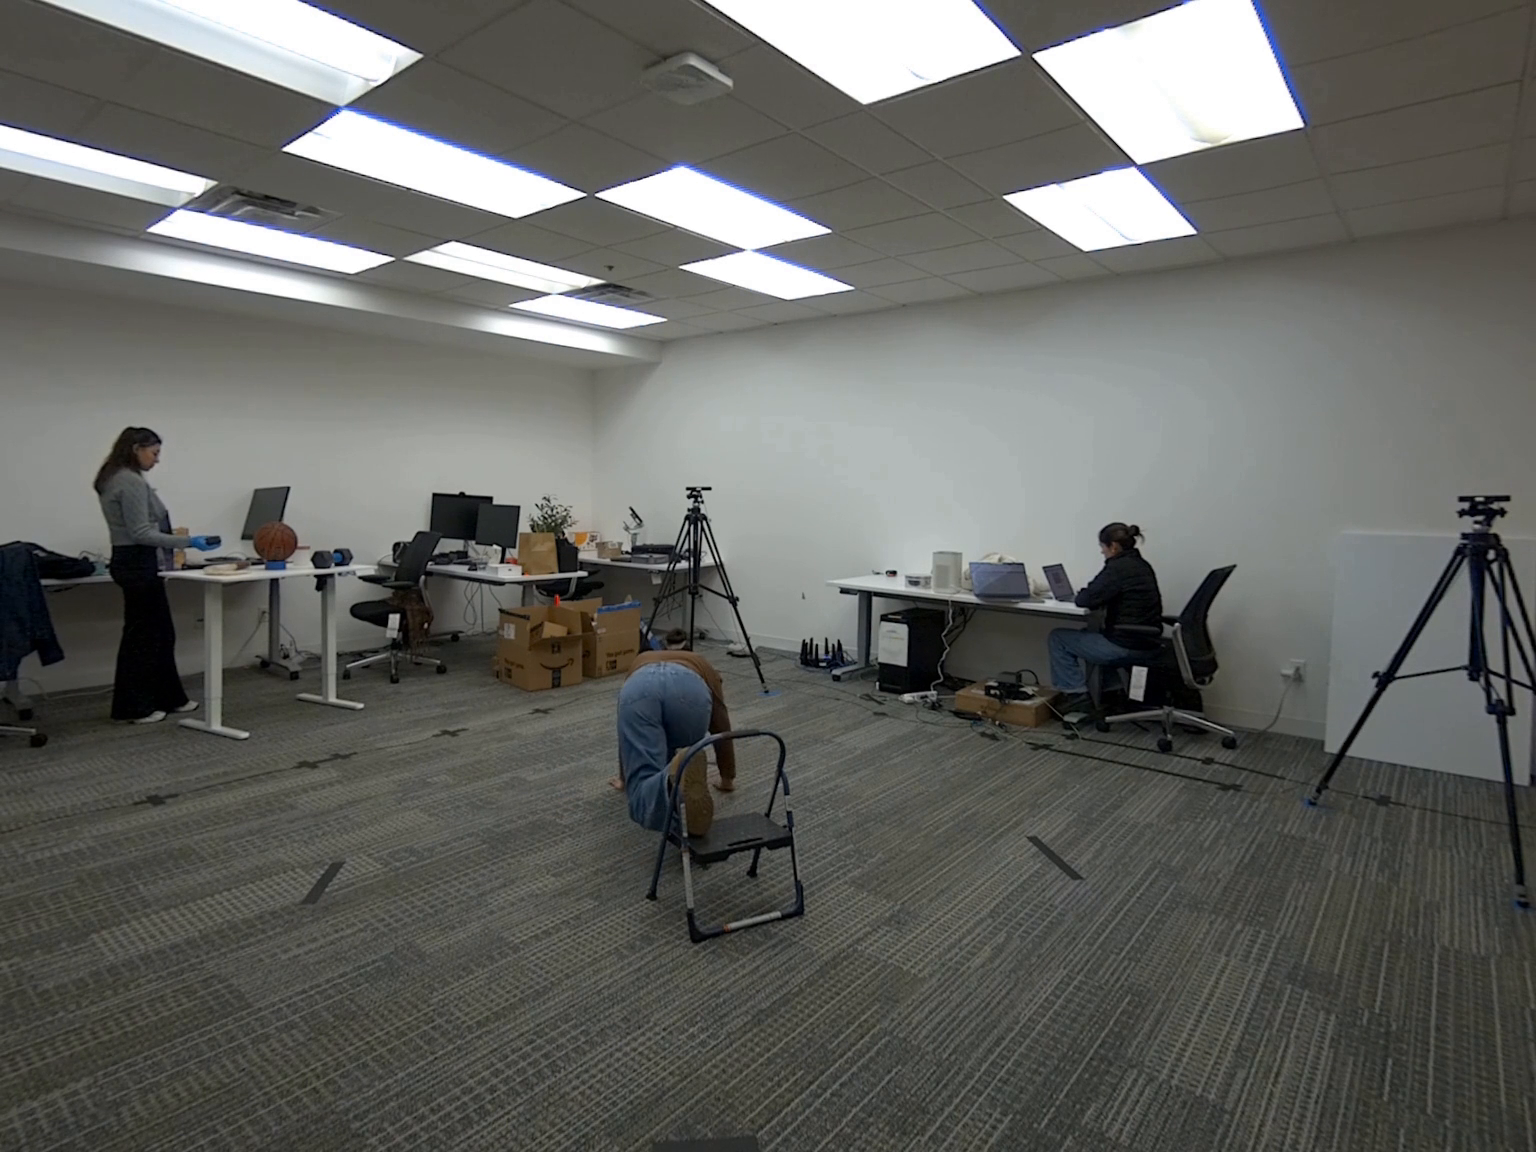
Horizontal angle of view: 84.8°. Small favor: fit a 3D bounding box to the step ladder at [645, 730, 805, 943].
[{"bbox_3d":[-0.147,0.796,2.815,0.419,0.605,0.360,-1,3,-31],"label":"step ladder"}]
